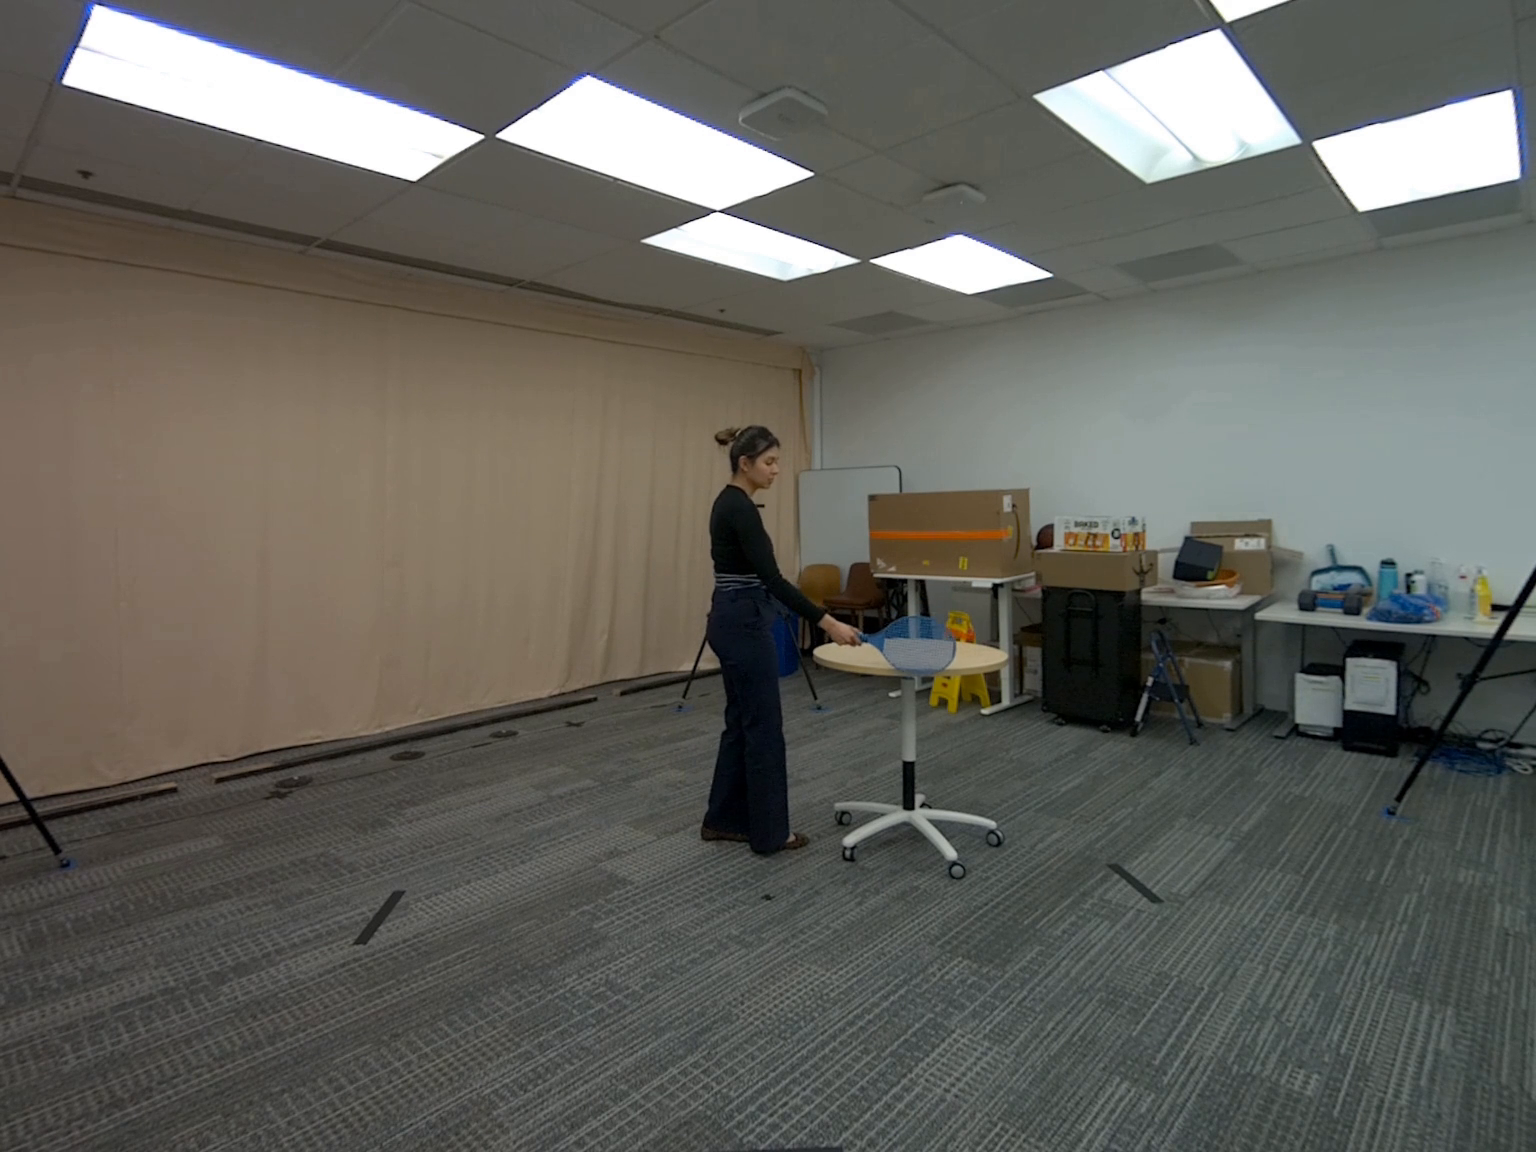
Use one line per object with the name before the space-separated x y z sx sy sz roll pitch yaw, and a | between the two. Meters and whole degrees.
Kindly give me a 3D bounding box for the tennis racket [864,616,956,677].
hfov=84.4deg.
tennis racket | 0.457 0.248 3.047 0.442 0.215 0.031 1 -13 19
